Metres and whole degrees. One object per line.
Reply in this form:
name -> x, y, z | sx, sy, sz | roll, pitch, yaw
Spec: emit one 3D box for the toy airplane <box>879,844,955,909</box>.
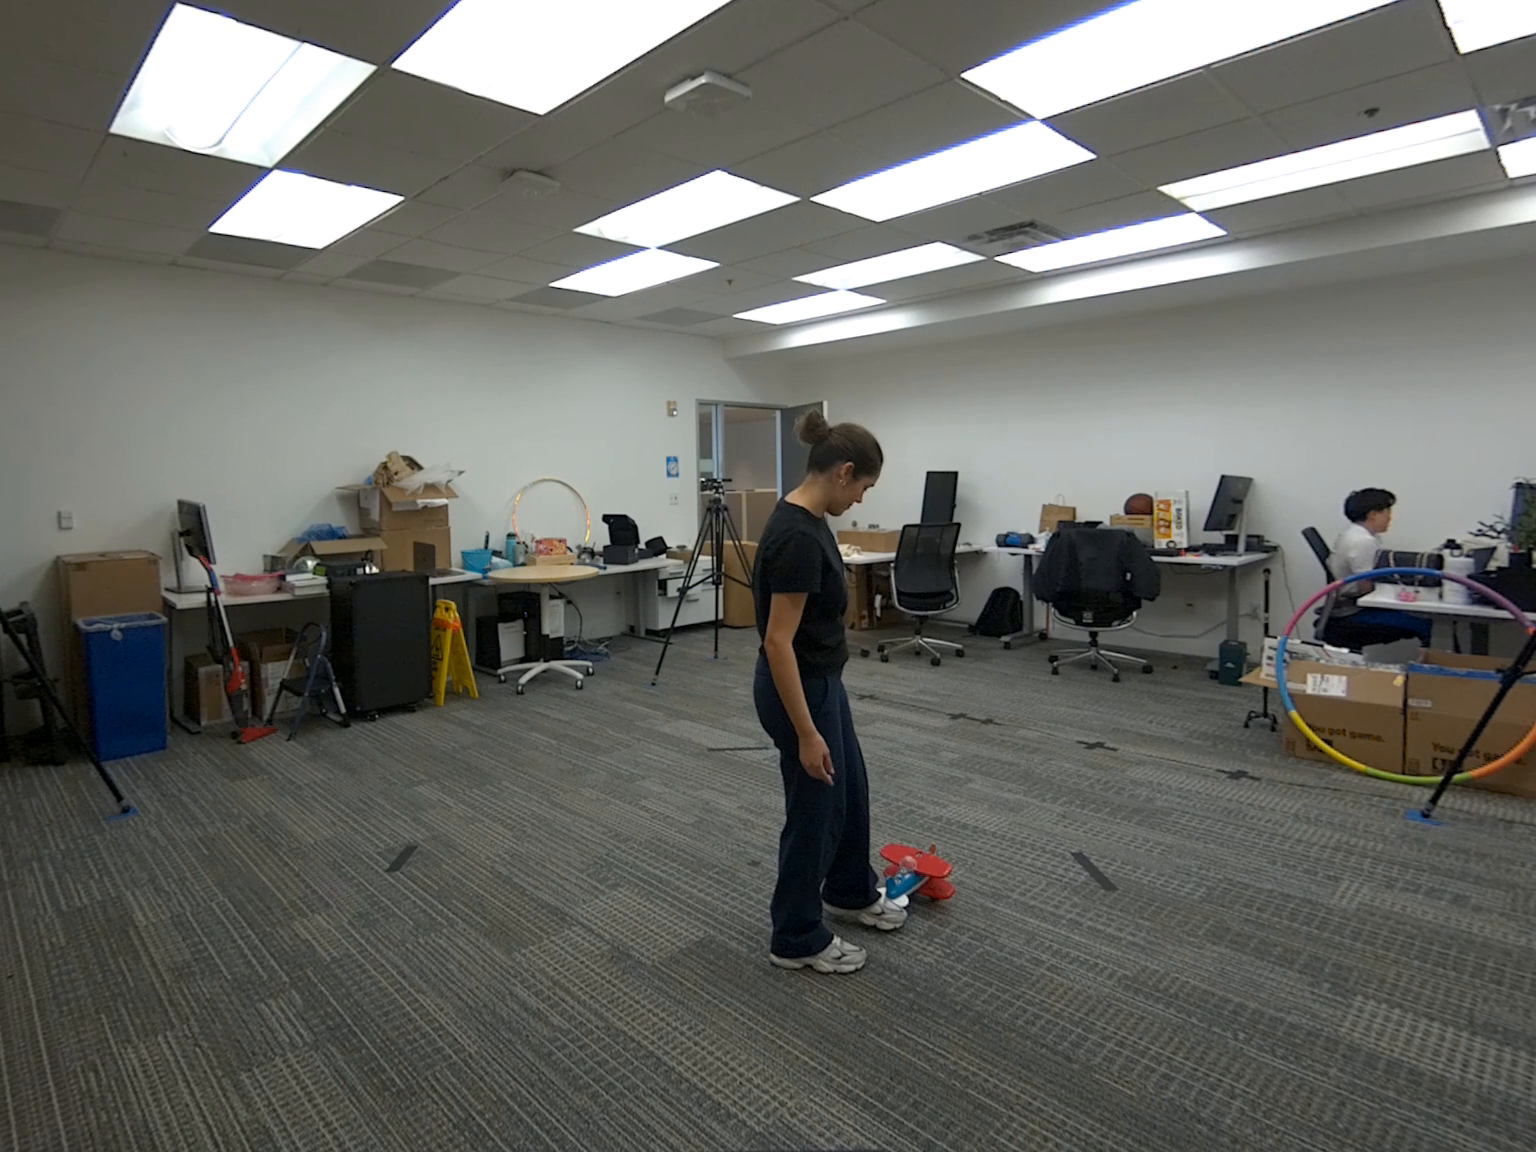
toy airplane -> 0.483, 0.992, 2.793 | 0.255, 0.156, 0.255 | 1, 3, 17
